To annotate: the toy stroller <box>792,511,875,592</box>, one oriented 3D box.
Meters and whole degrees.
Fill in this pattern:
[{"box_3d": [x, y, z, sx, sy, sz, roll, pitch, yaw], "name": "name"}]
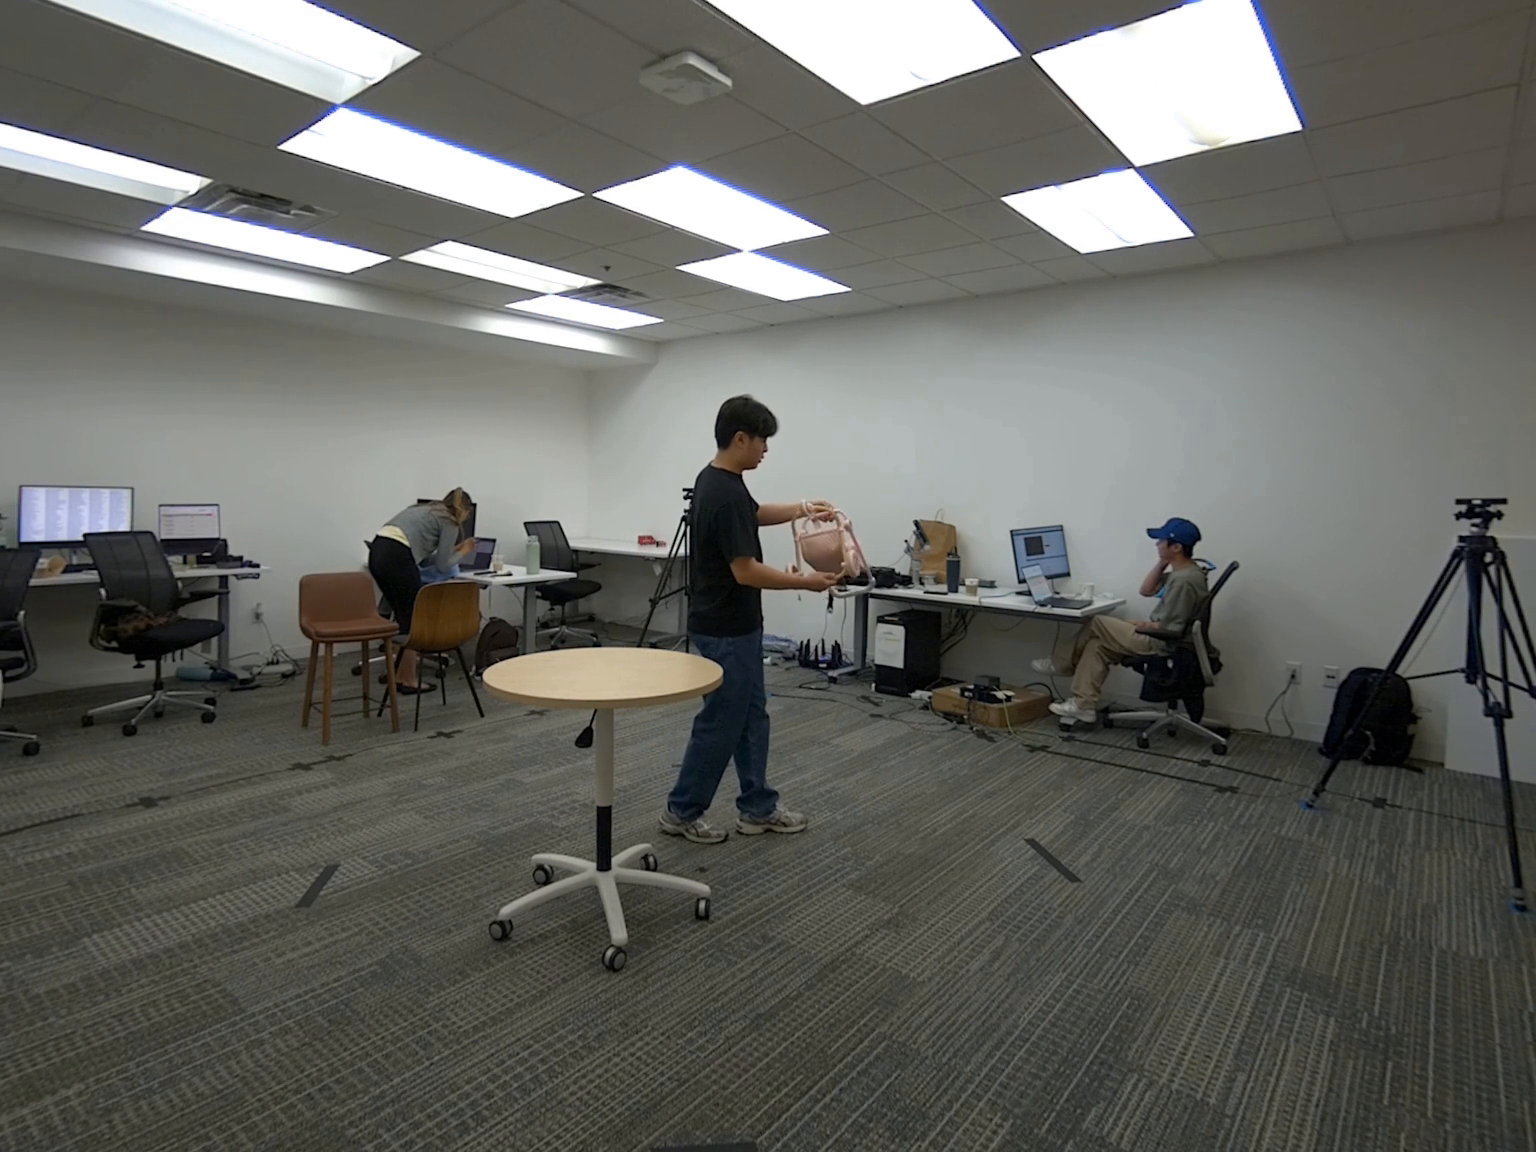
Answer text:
[{"box_3d": [0.242, -0.108, 3.466, 0.285, 0.347, 0.519, -18, -13, 21], "name": "toy stroller"}]
